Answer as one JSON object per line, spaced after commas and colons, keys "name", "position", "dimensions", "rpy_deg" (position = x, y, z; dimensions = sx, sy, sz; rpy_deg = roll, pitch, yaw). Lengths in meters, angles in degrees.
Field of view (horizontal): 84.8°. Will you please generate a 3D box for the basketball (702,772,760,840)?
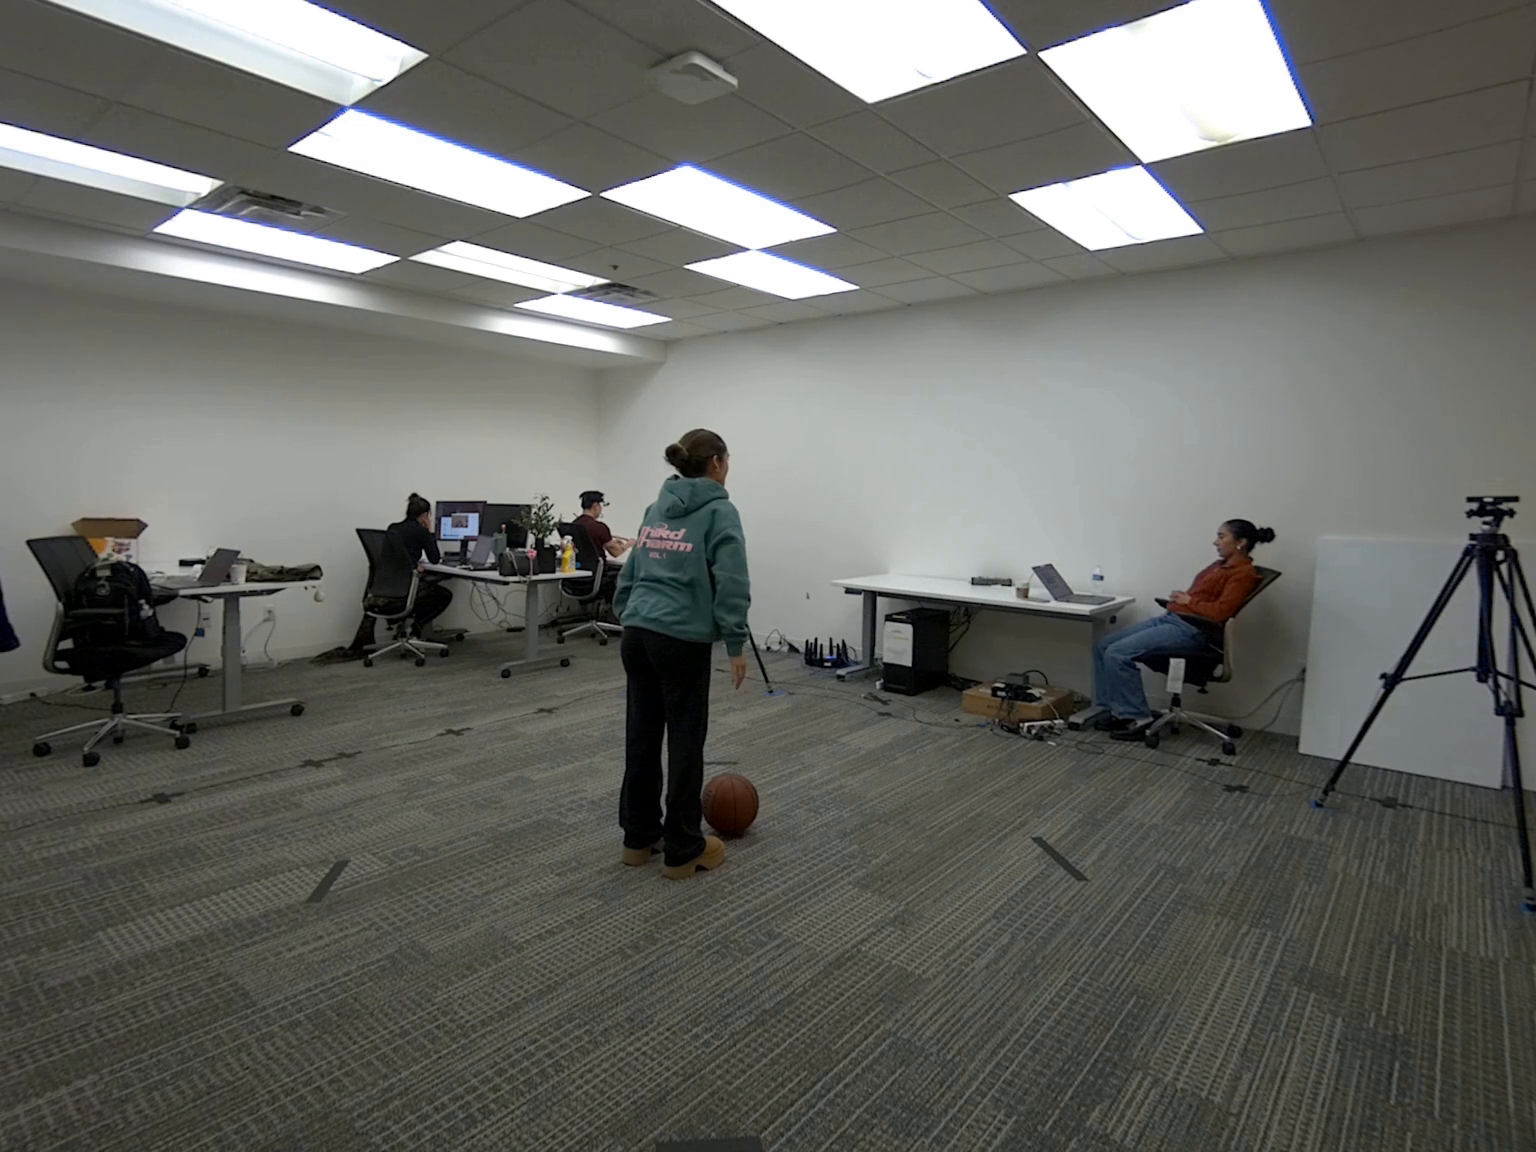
{"name": "basketball", "position": [-0.165, 0.915, 3.439], "dimensions": [0.235, 0.235, 0.237], "rpy_deg": [1, 4, -2]}
